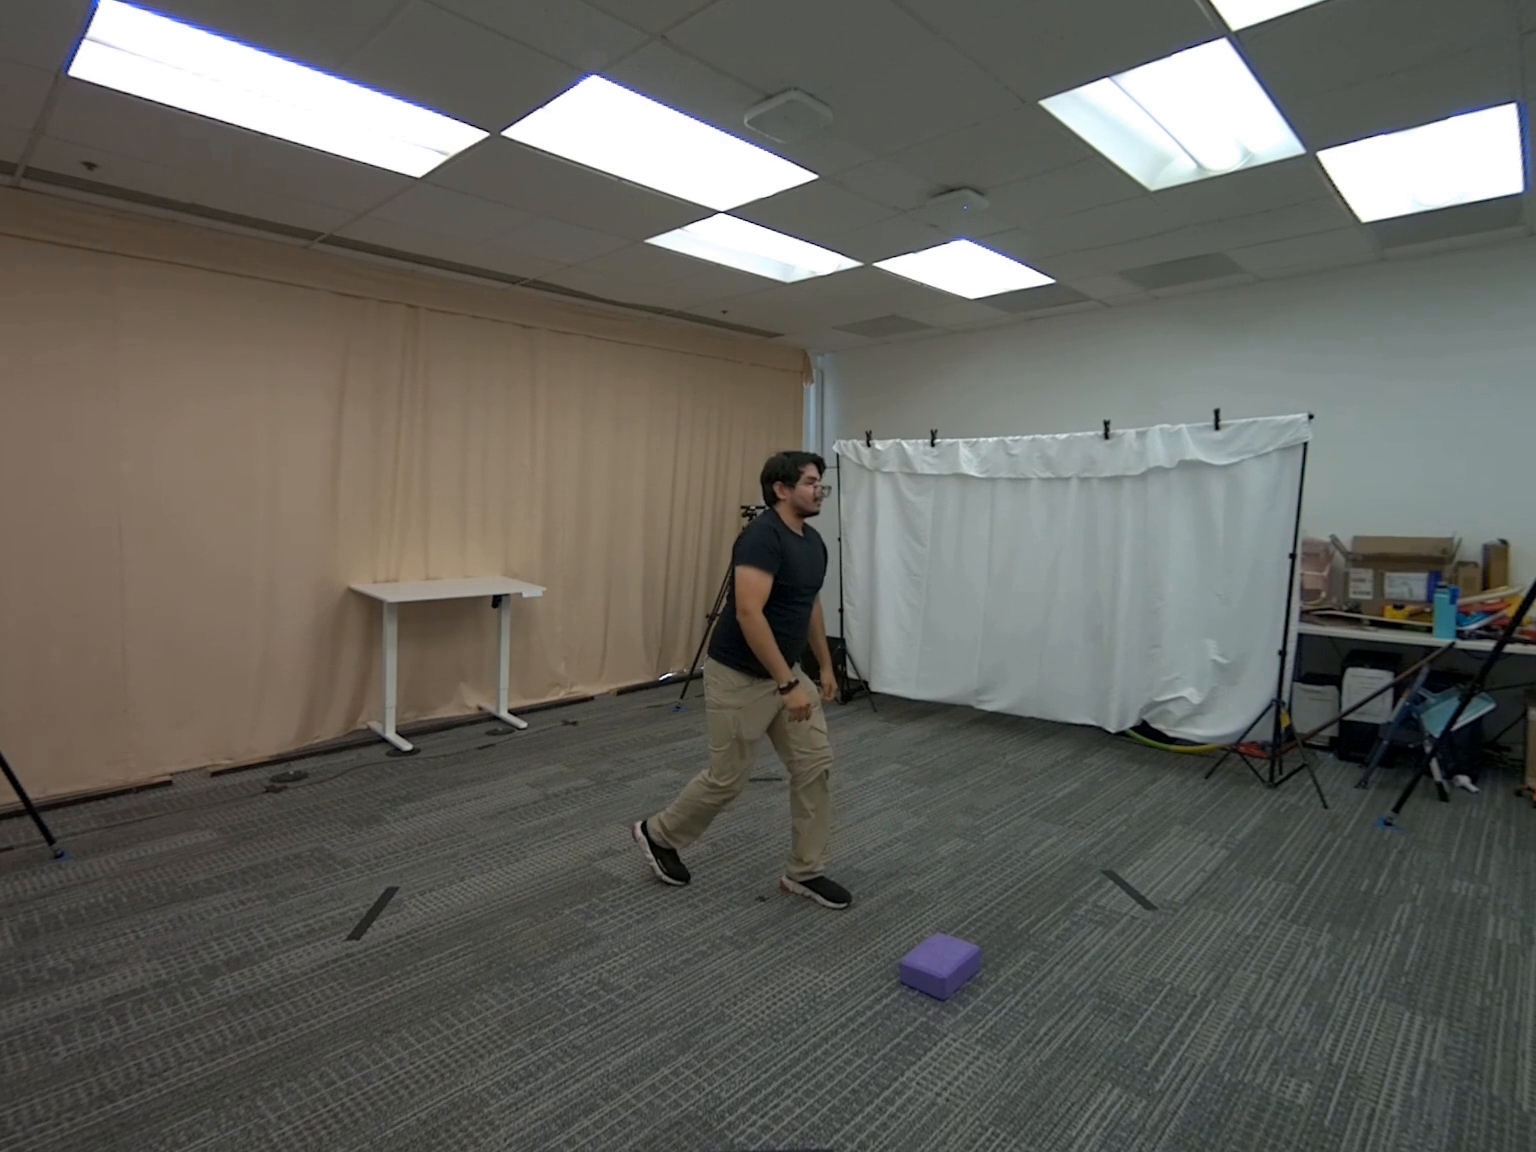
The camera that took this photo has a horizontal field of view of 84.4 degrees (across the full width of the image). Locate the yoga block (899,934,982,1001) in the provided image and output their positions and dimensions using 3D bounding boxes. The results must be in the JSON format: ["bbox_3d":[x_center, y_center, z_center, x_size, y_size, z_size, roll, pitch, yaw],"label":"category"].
[{"bbox_3d":[0.515,1.147,2.482,0.154,0.076,0.222,2,5,42],"label":"yoga block"}]
